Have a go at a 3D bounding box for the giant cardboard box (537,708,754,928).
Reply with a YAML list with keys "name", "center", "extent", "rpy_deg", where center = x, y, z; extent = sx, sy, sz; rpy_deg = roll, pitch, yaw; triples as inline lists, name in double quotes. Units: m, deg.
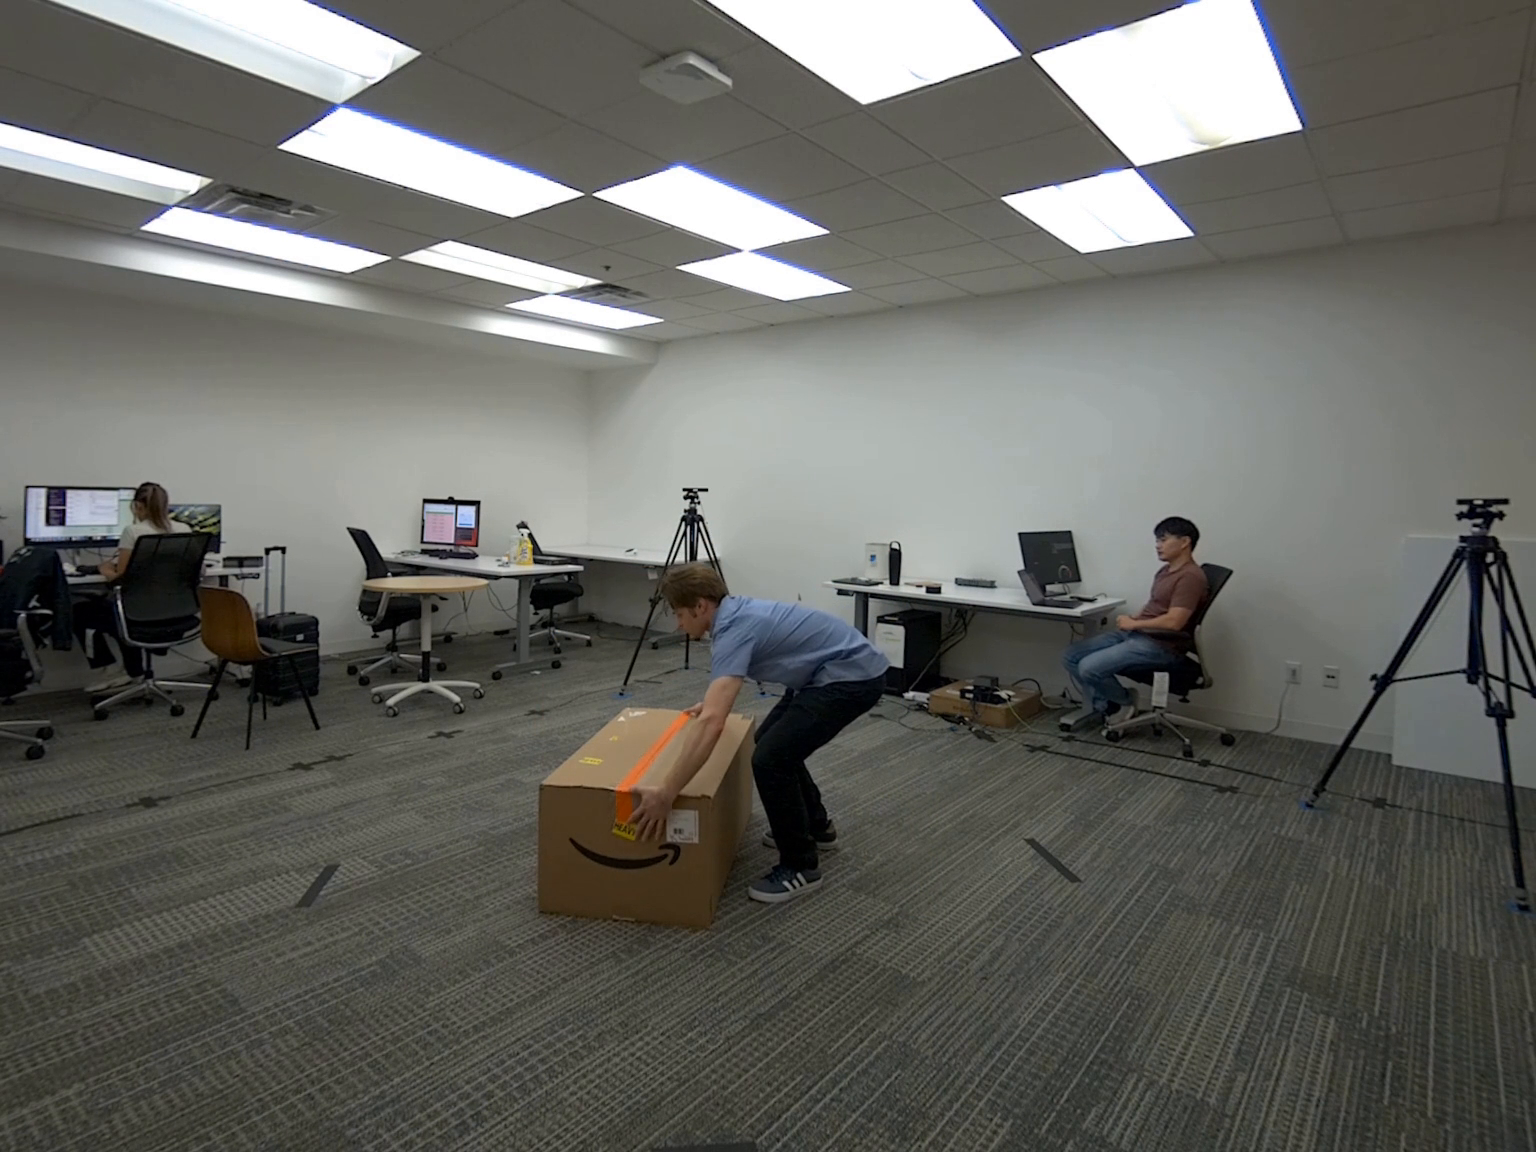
- name: "giant cardboard box"
  center: [-0.417, 0.841, 3.204]
  extent: [0.589, 0.445, 1.021]
  rpy_deg: [3, 5, 7]
